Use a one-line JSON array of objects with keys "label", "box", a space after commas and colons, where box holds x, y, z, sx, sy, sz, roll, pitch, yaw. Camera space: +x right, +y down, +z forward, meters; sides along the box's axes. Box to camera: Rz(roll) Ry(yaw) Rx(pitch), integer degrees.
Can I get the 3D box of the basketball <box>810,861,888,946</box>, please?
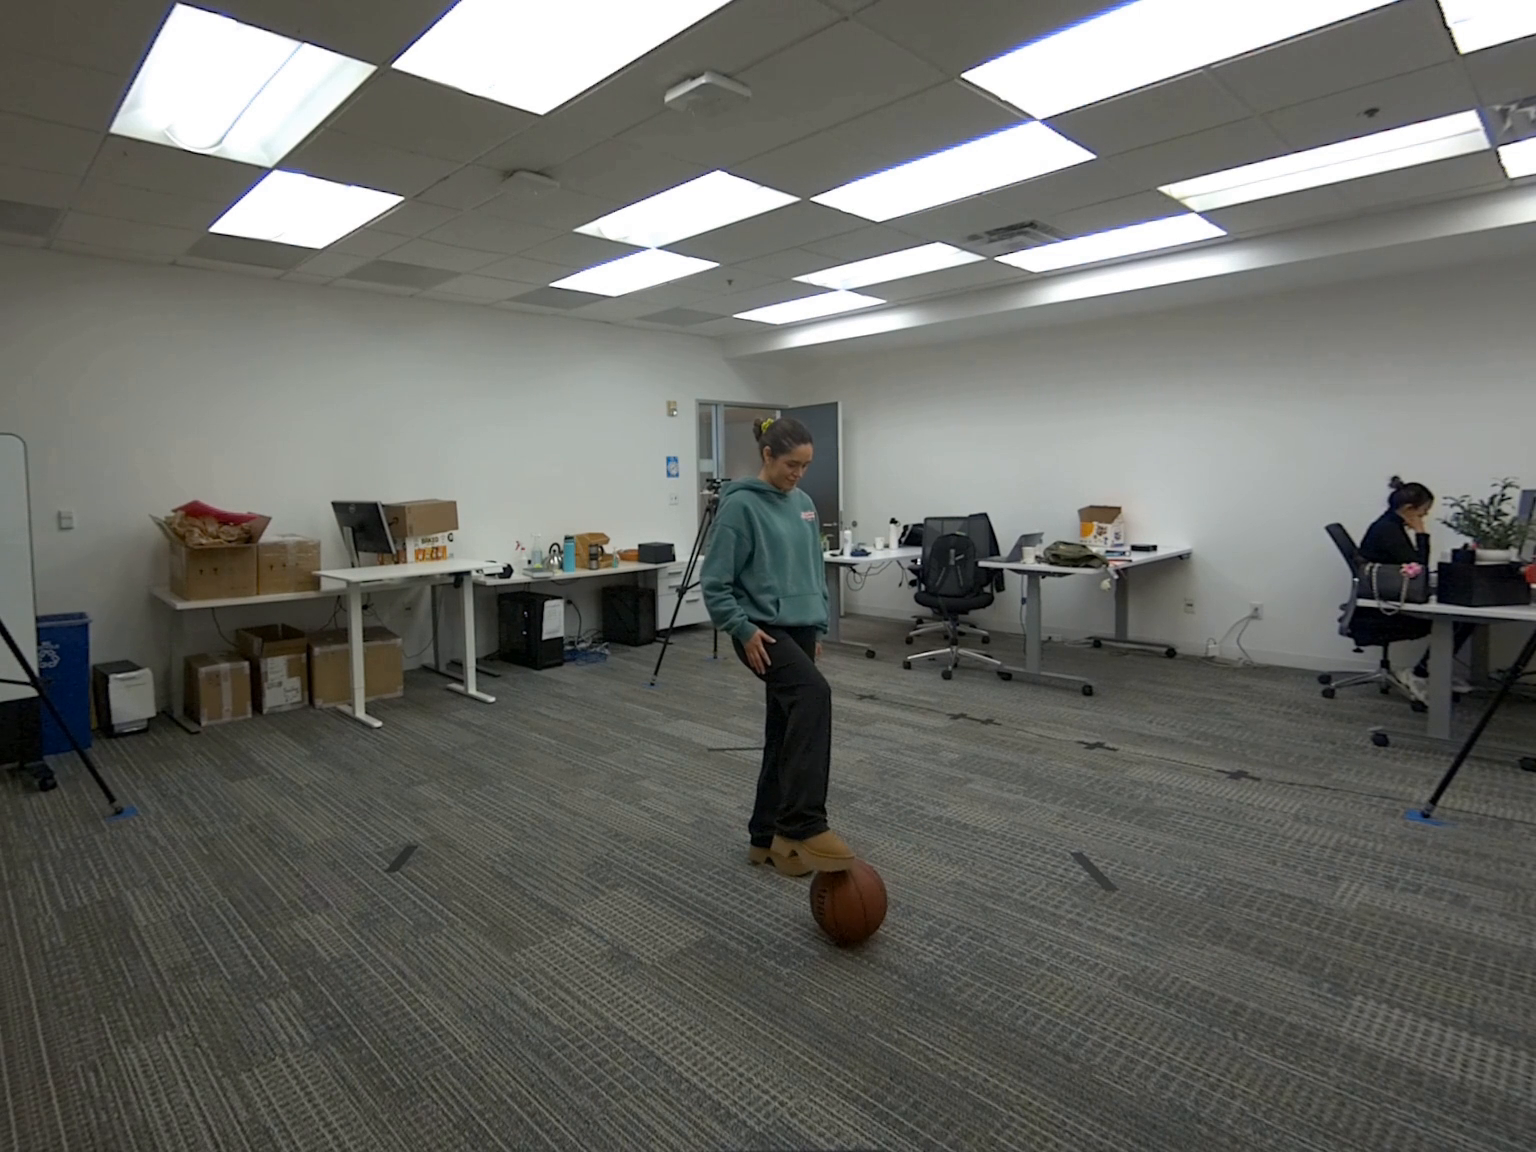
[{"label": "basketball", "box": [0.248, 0.975, 2.604, 0.236, 0.235, 0.237, -1, 5, -2]}]
